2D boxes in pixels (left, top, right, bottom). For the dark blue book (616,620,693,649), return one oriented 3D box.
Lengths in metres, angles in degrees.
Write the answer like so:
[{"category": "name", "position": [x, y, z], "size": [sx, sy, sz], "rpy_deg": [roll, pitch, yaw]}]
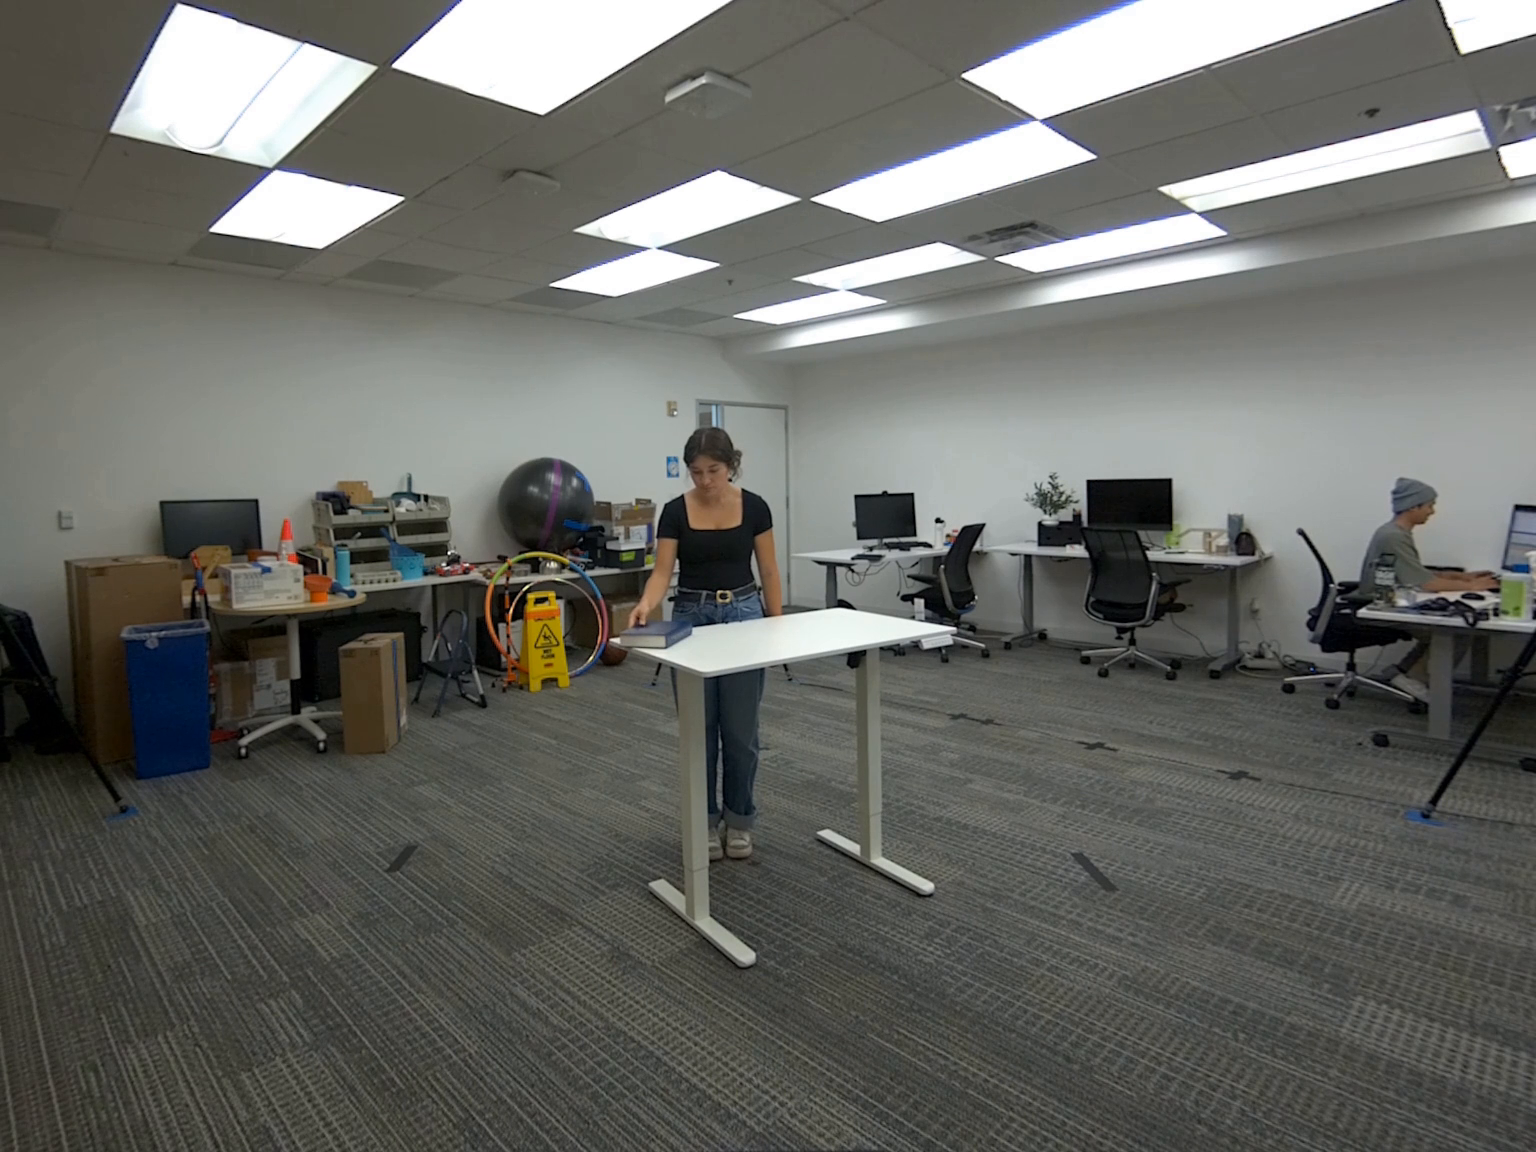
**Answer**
[{"category": "dark blue book", "position": [-0.353, 0.192, 2.760], "size": [0.166, 0.045, 0.242], "rpy_deg": [-1, 7, 16]}]
